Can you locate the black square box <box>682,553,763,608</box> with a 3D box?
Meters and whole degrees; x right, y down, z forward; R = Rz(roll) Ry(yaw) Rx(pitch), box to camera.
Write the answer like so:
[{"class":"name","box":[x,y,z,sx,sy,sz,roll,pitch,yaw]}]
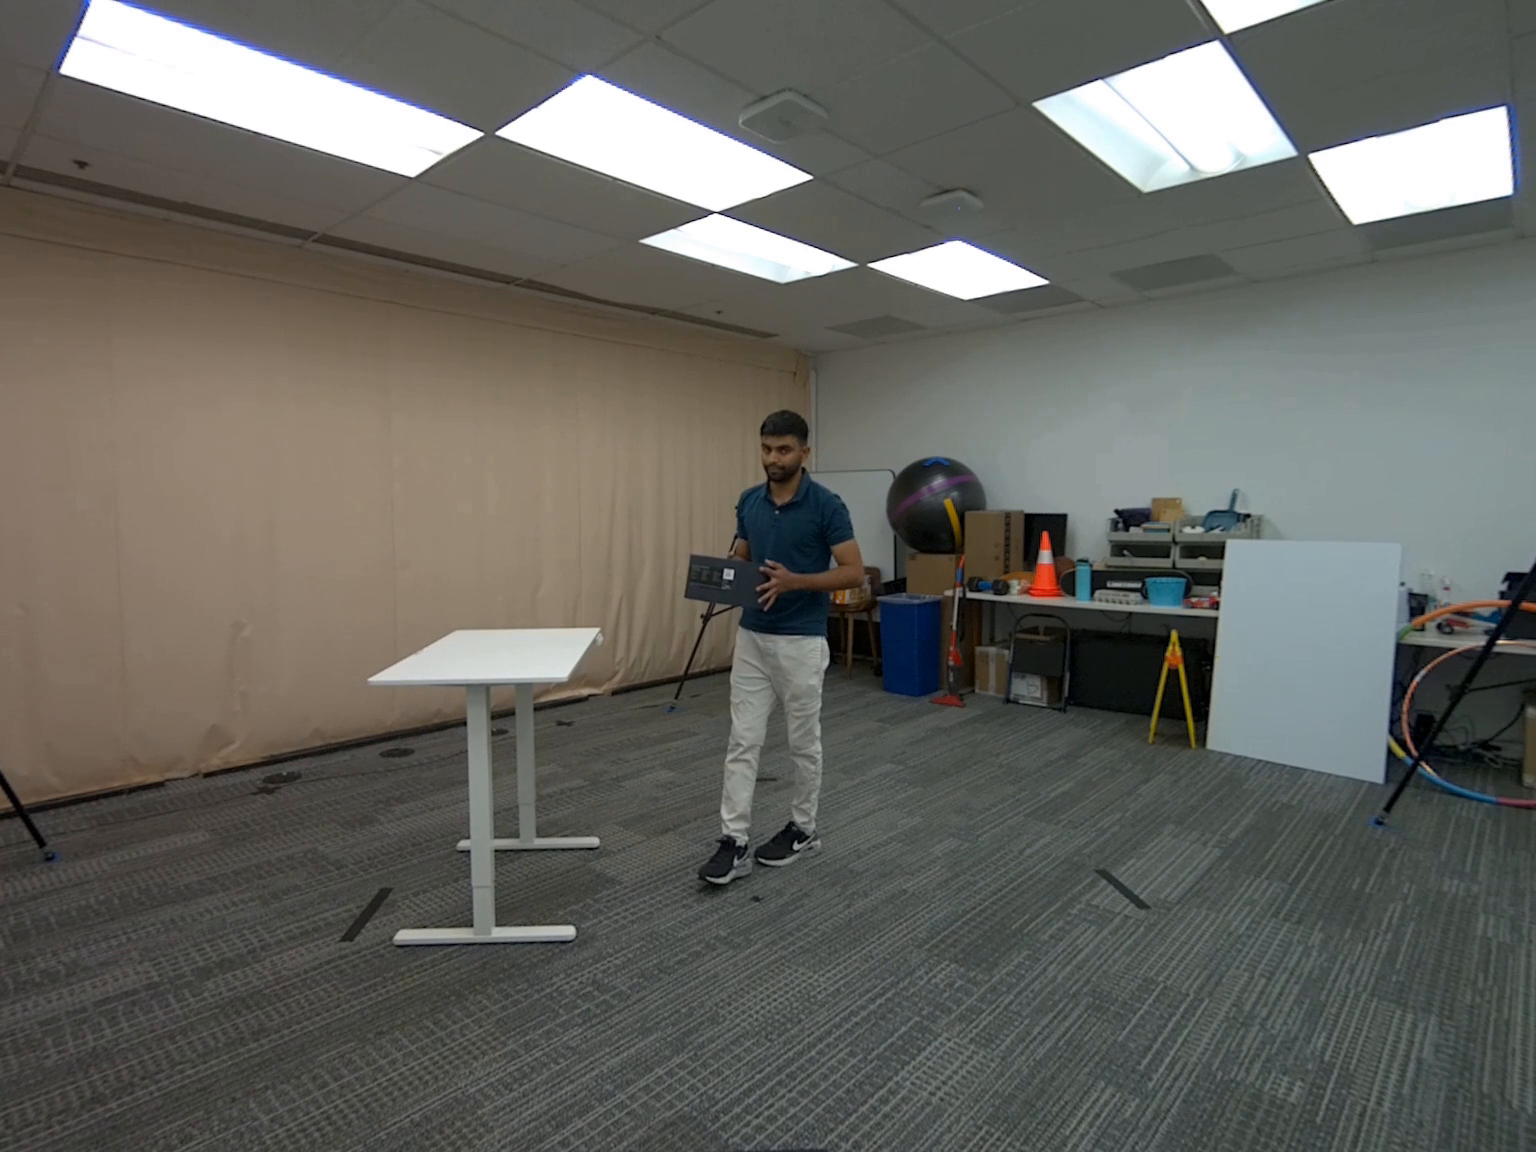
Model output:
[{"class":"black square box","box":[-0.137,0.016,2.961,0.224,0.156,0.221,8,0,31]}]
